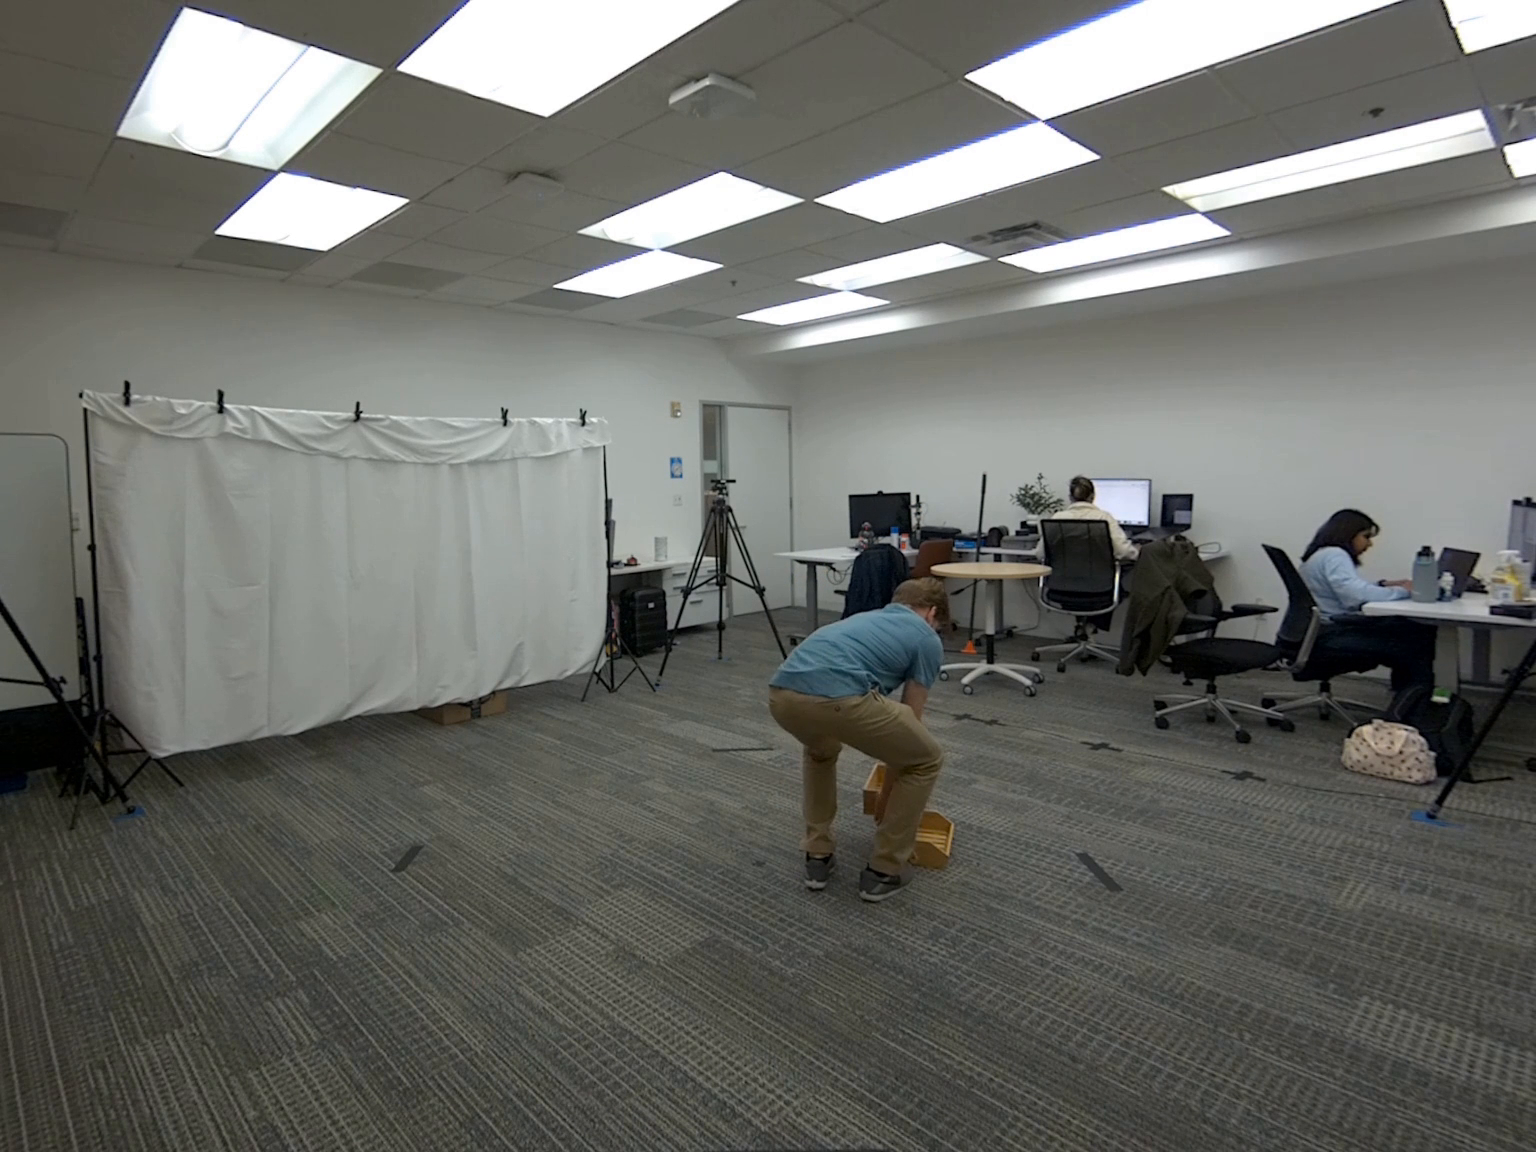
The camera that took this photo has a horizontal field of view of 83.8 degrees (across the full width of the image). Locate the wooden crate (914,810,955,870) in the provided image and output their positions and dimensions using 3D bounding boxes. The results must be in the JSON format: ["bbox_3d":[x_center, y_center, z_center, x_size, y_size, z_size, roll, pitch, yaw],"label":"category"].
[{"bbox_3d":[0.549,0.895,3.218,0.307,0.272,0.320,0,5,17],"label":"wooden crate"}]
